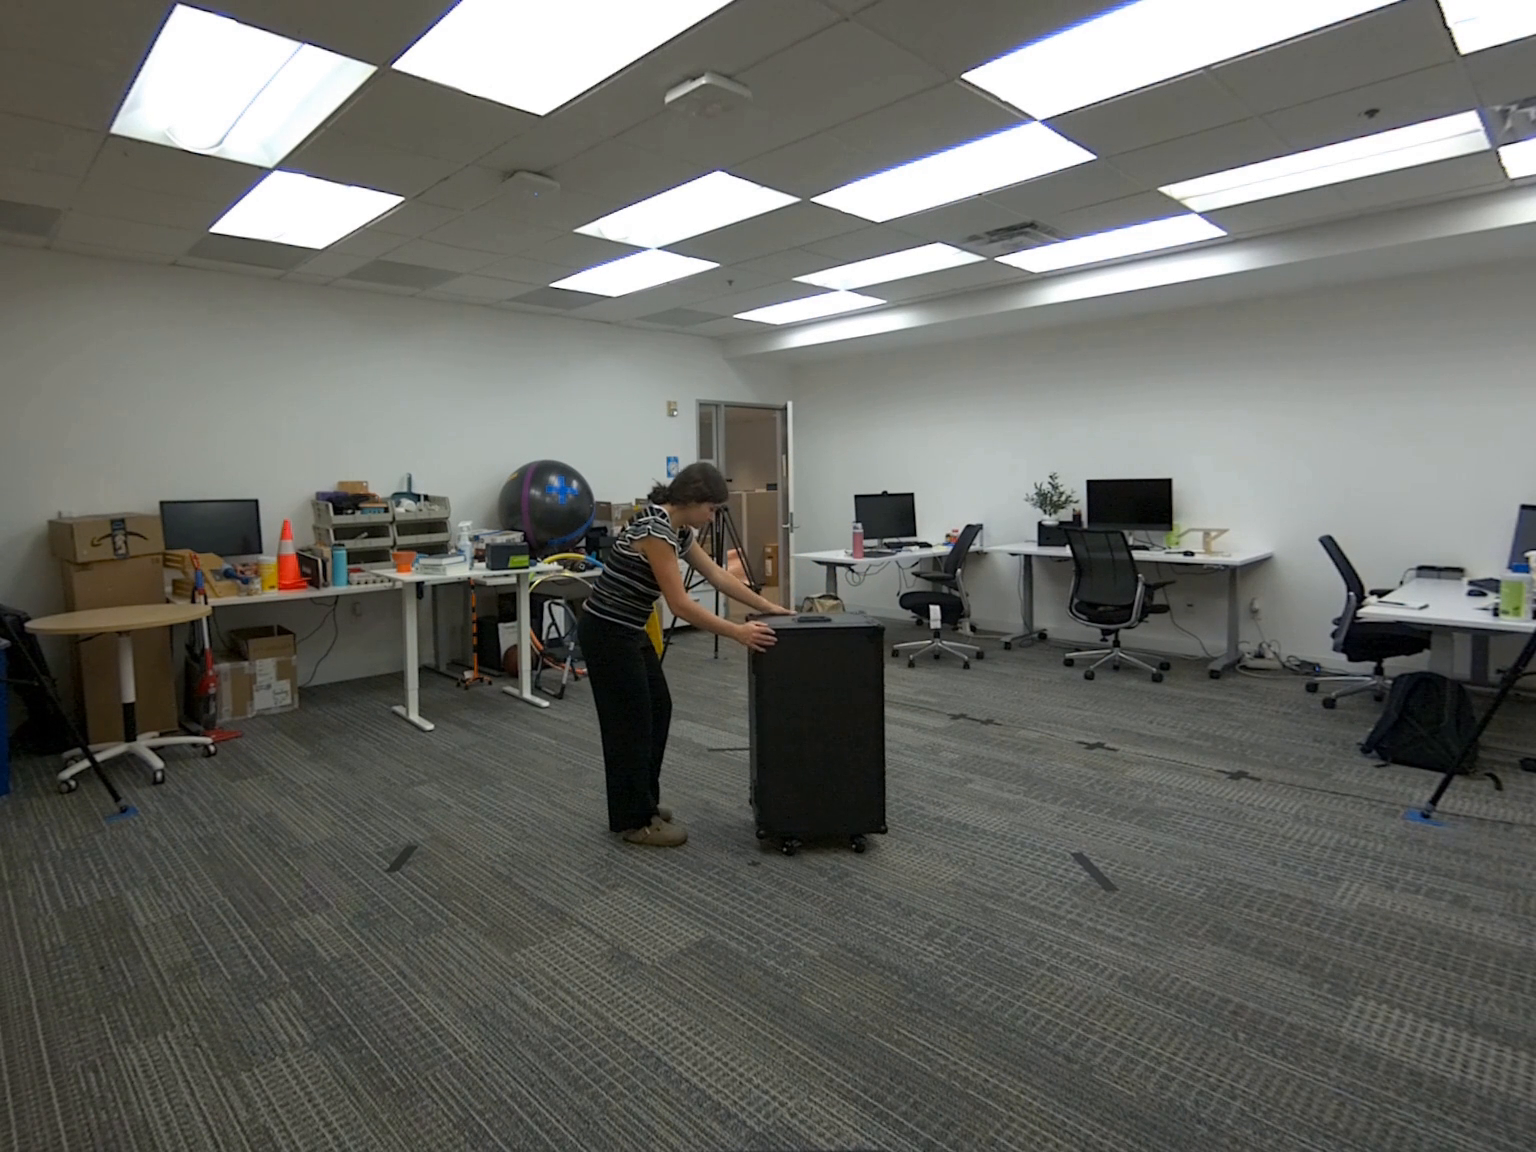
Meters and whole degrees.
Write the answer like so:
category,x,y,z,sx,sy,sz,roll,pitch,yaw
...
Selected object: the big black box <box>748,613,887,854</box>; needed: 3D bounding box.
category,x,y,z,sx,sy,sz,roll,pitch,yaw
big black box,0.171,0.594,3.325,0.520,0.859,0.398,-2,3,-3
